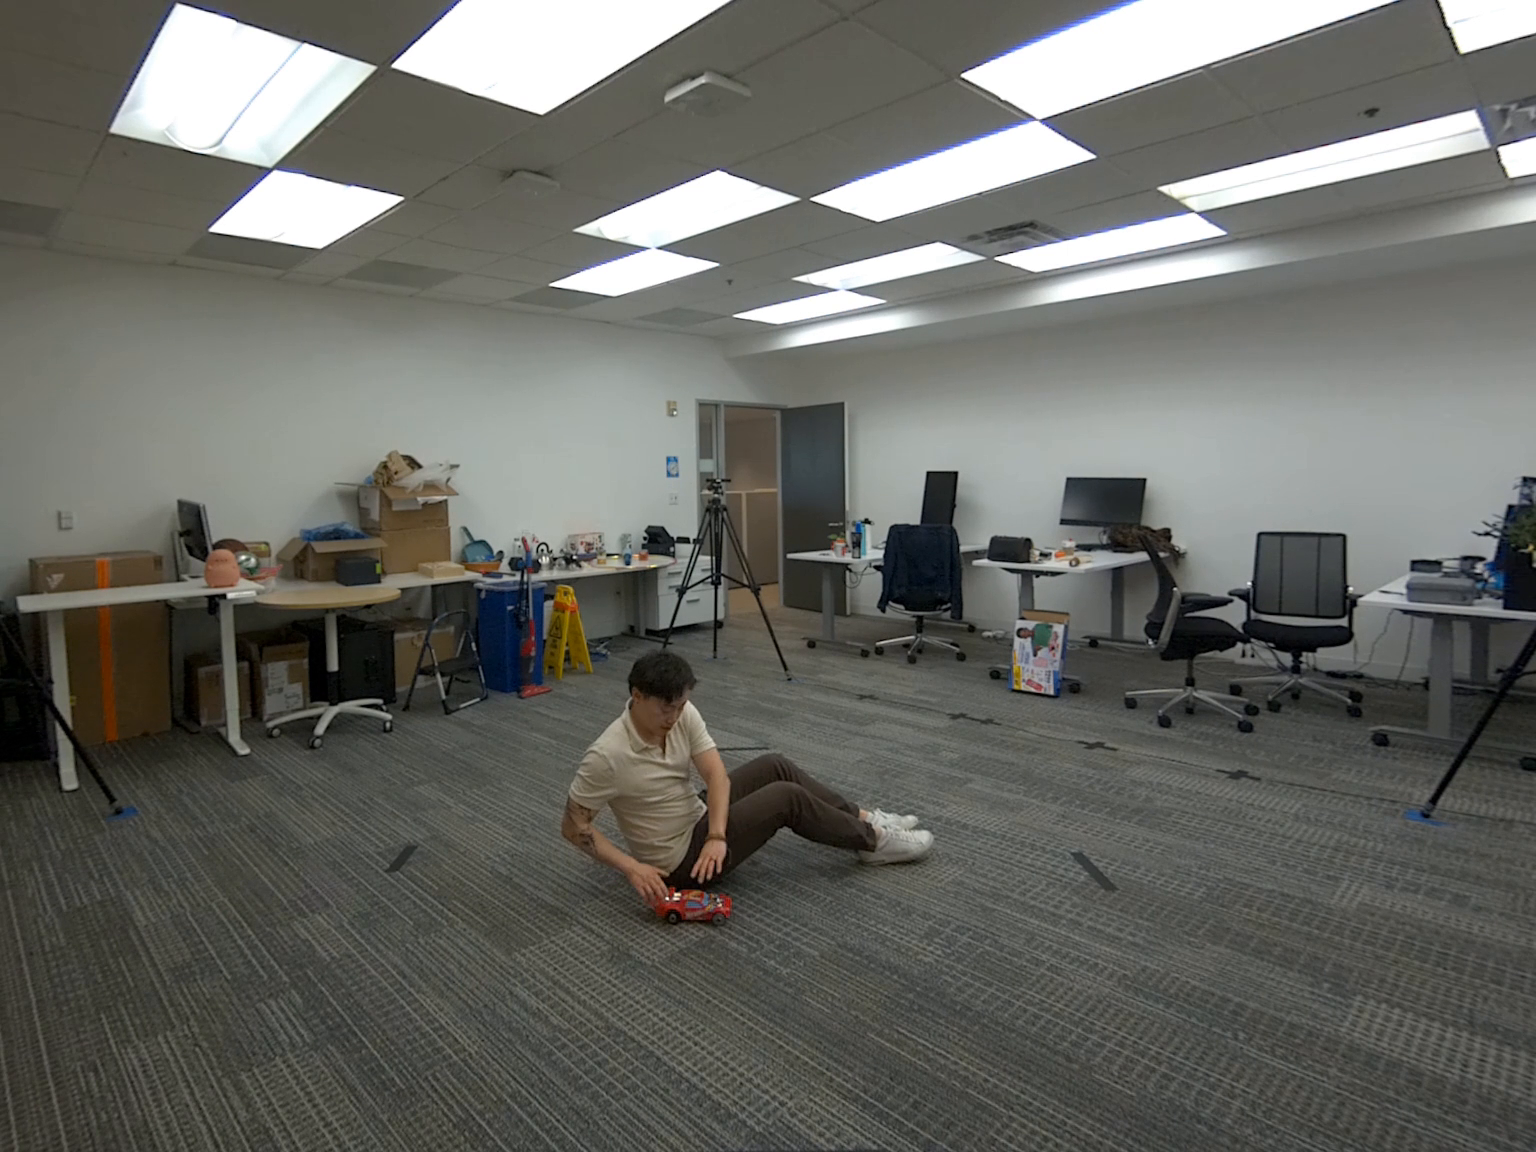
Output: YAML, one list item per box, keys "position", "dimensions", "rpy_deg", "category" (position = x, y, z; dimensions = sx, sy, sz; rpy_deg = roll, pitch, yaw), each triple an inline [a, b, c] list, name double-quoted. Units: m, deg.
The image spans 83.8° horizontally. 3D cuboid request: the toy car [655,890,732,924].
- position: [-0.253, 1.067, 2.736]
  dimensions: [0.255, 0.083, 0.130]
  rpy_deg: [9, 7, 2]
  category: "toy car"
